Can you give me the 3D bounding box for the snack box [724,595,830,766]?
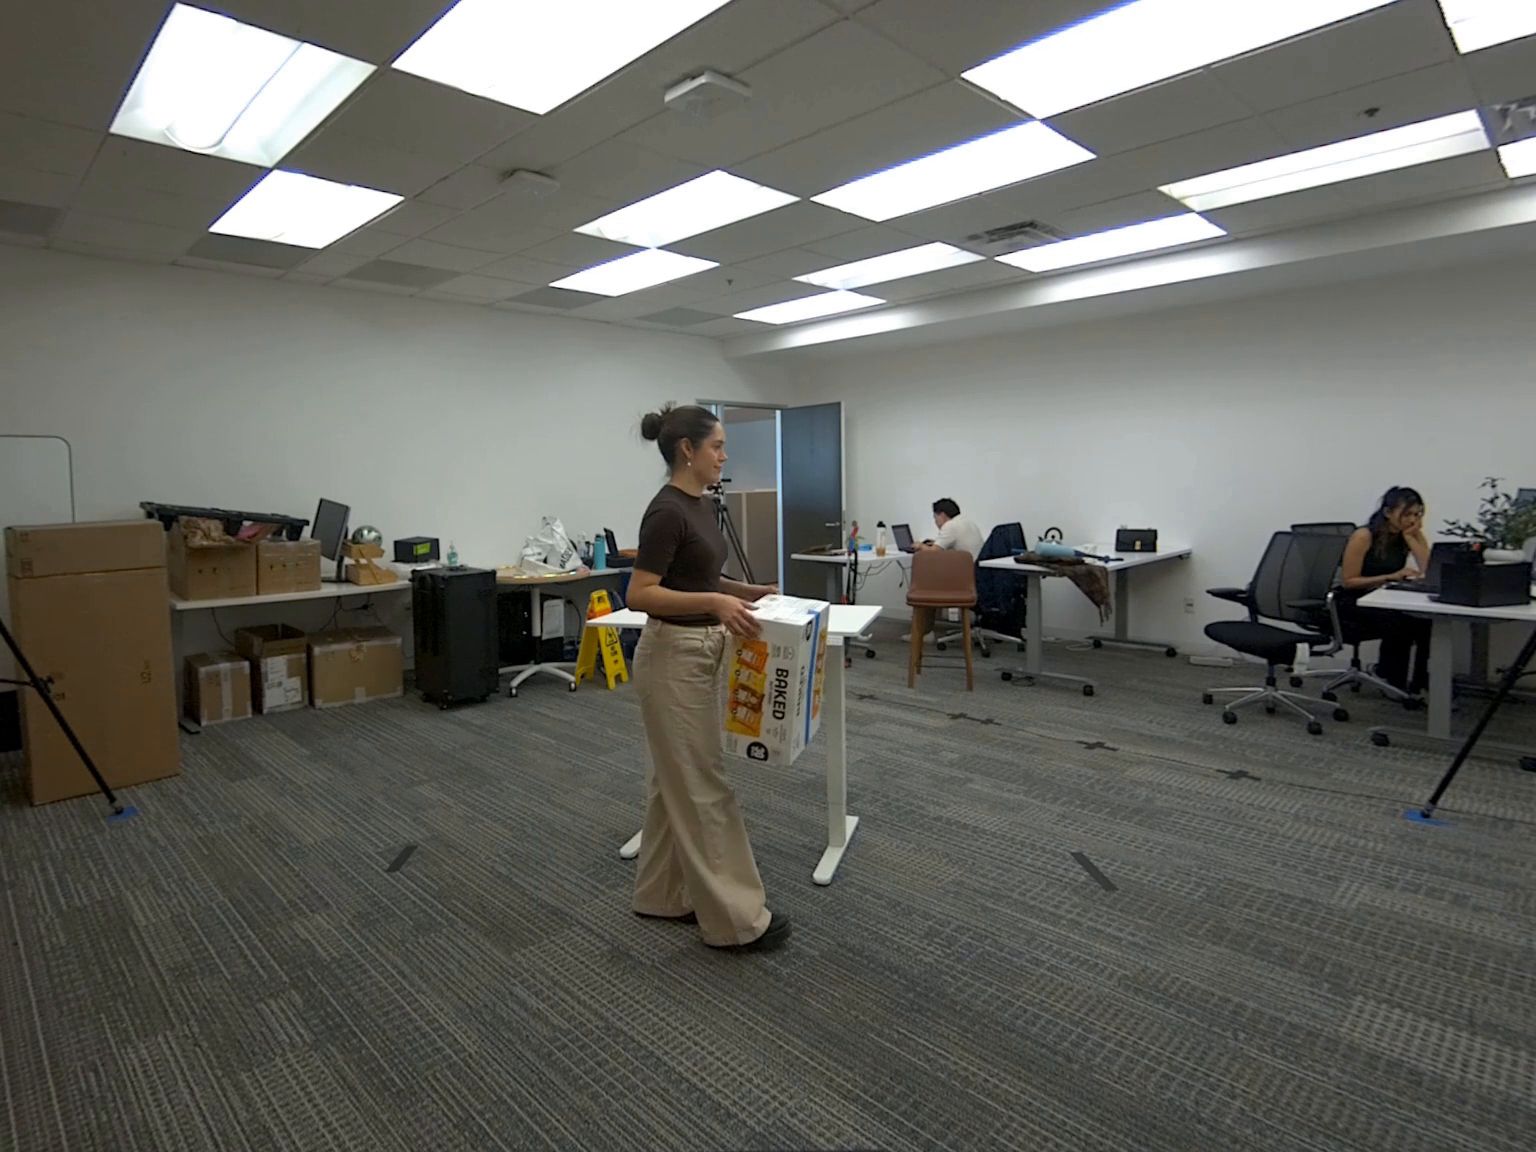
[{"bbox_3d":[0.032,0.296,2.514,0.209,0.402,0.336,6,9,17],"label":"snack box"}]
